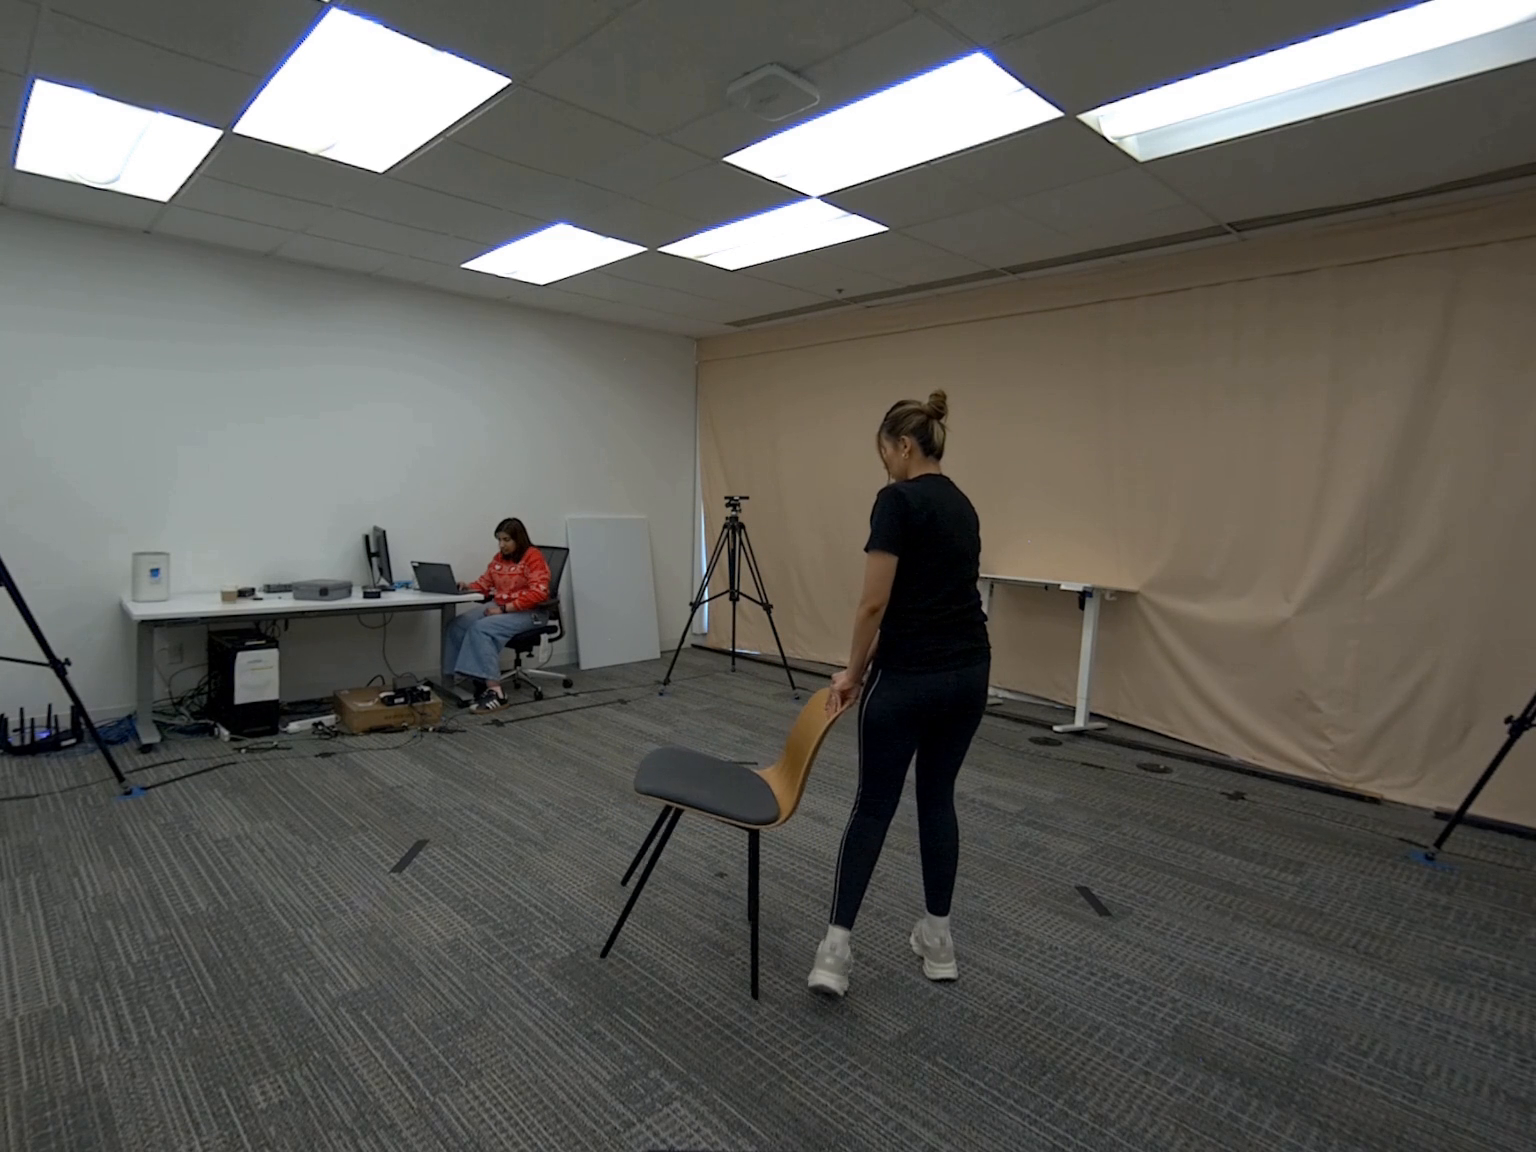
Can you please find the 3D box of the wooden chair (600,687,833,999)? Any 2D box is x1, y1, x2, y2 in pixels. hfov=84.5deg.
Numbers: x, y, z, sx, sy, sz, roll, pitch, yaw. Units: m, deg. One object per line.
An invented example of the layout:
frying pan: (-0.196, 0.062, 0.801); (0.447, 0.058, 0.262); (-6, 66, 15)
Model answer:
wooden chair: (-0.152, 0.686, 2.519); (0.522, 0.876, 0.480); (20, 4, -3)
